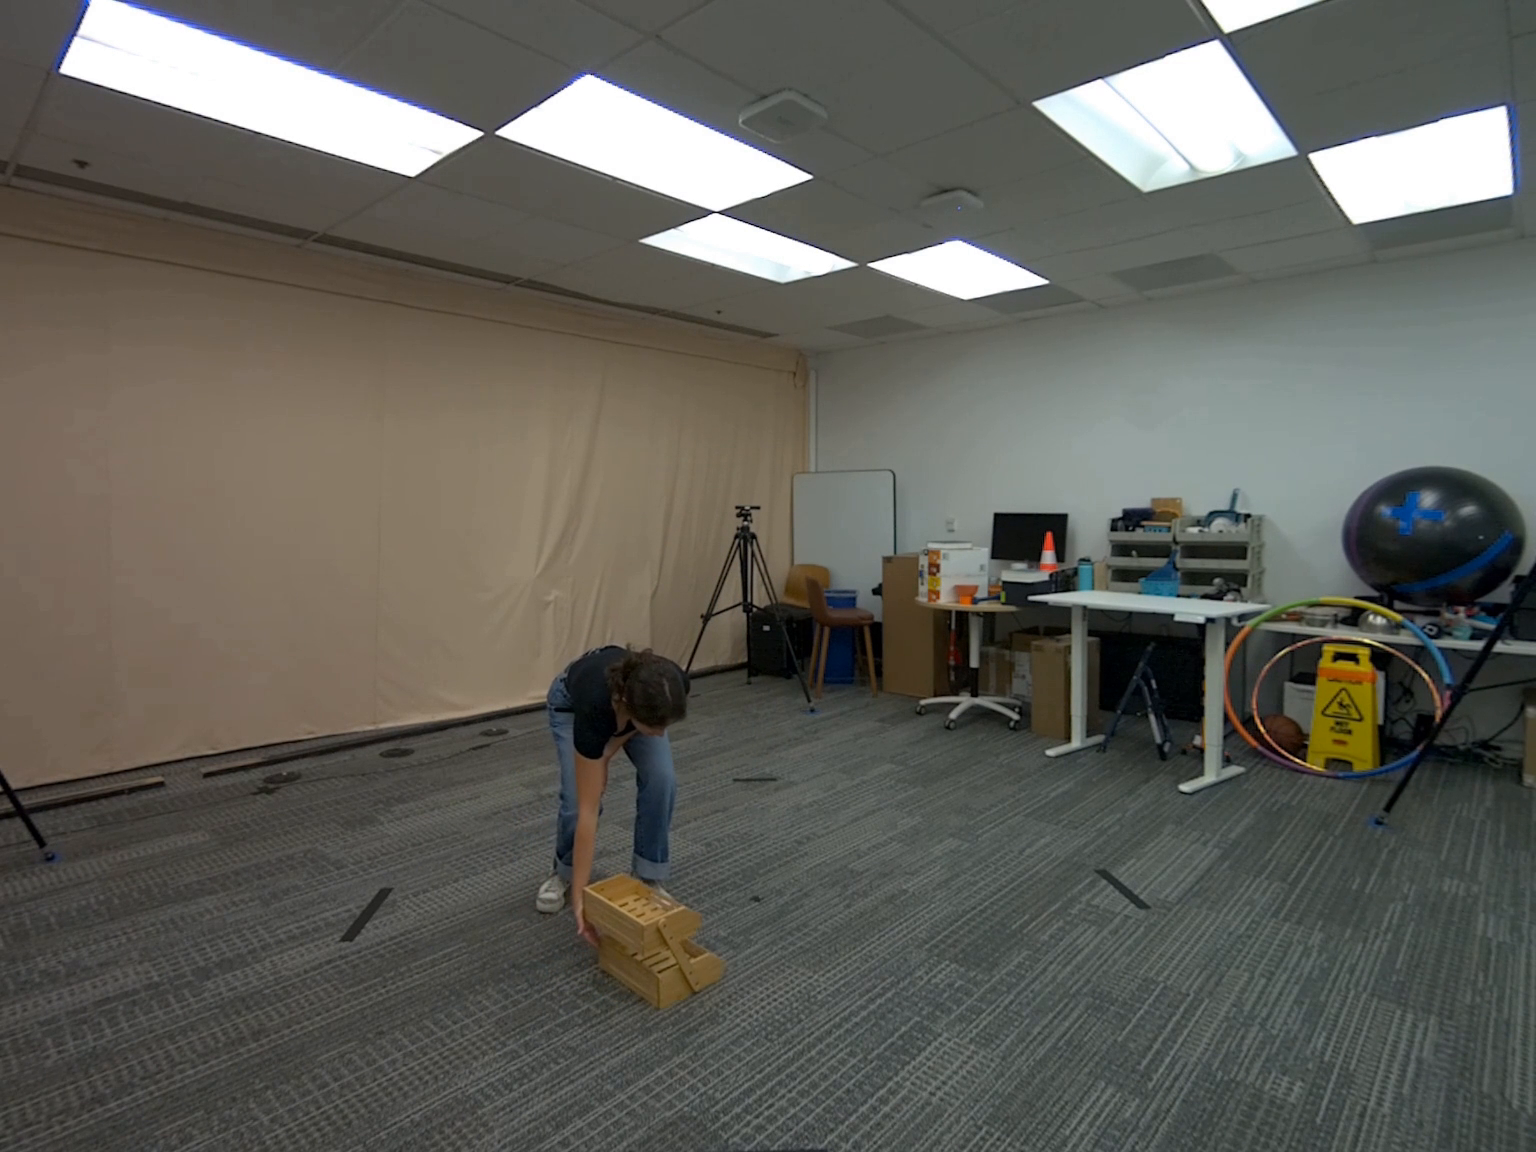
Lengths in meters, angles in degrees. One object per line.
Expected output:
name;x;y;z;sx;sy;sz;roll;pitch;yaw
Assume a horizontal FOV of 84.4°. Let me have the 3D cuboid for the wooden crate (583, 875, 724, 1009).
wooden crate;-0.334;1.054;2.492;0.293;0.273;0.335;-5;6;-44
